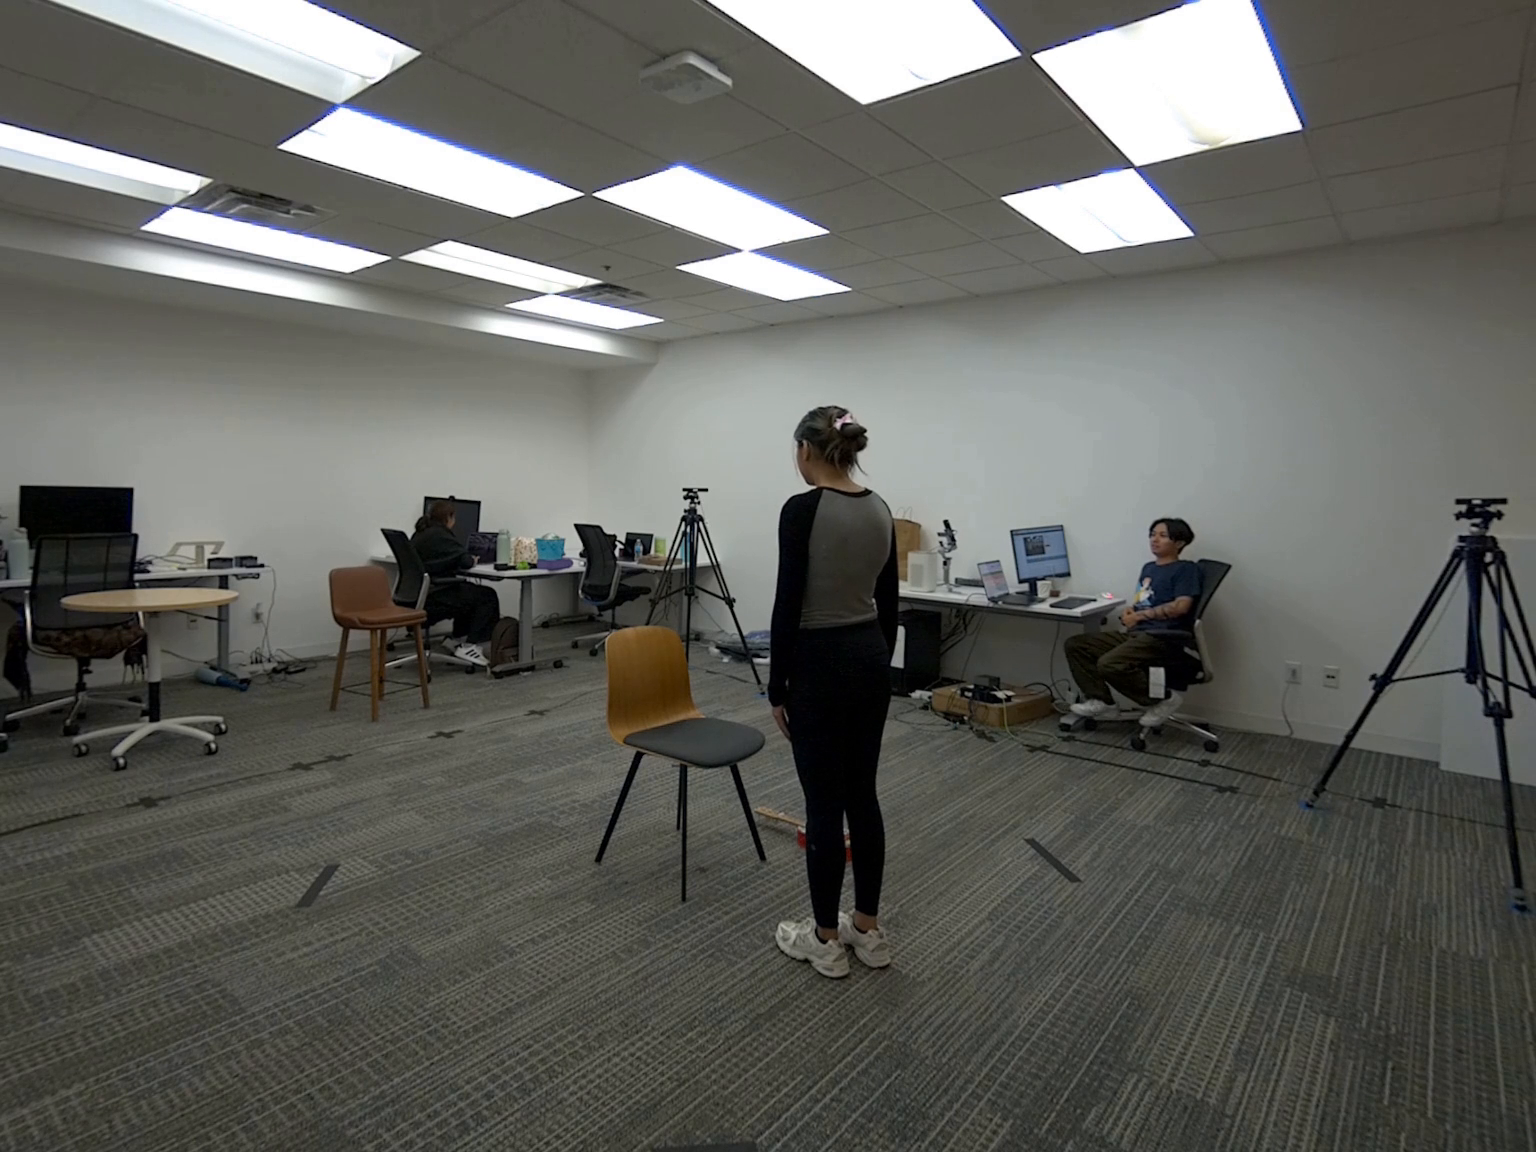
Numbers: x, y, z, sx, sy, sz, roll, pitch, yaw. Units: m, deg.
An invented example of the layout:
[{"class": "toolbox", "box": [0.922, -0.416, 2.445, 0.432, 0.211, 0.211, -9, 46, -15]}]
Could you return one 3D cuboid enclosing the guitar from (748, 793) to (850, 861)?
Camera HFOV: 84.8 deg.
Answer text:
[{"class": "guitar", "box": [0.163, 1.007, 3.408, 0.187, 0.070, 0.515, -4, 8, -44]}]
